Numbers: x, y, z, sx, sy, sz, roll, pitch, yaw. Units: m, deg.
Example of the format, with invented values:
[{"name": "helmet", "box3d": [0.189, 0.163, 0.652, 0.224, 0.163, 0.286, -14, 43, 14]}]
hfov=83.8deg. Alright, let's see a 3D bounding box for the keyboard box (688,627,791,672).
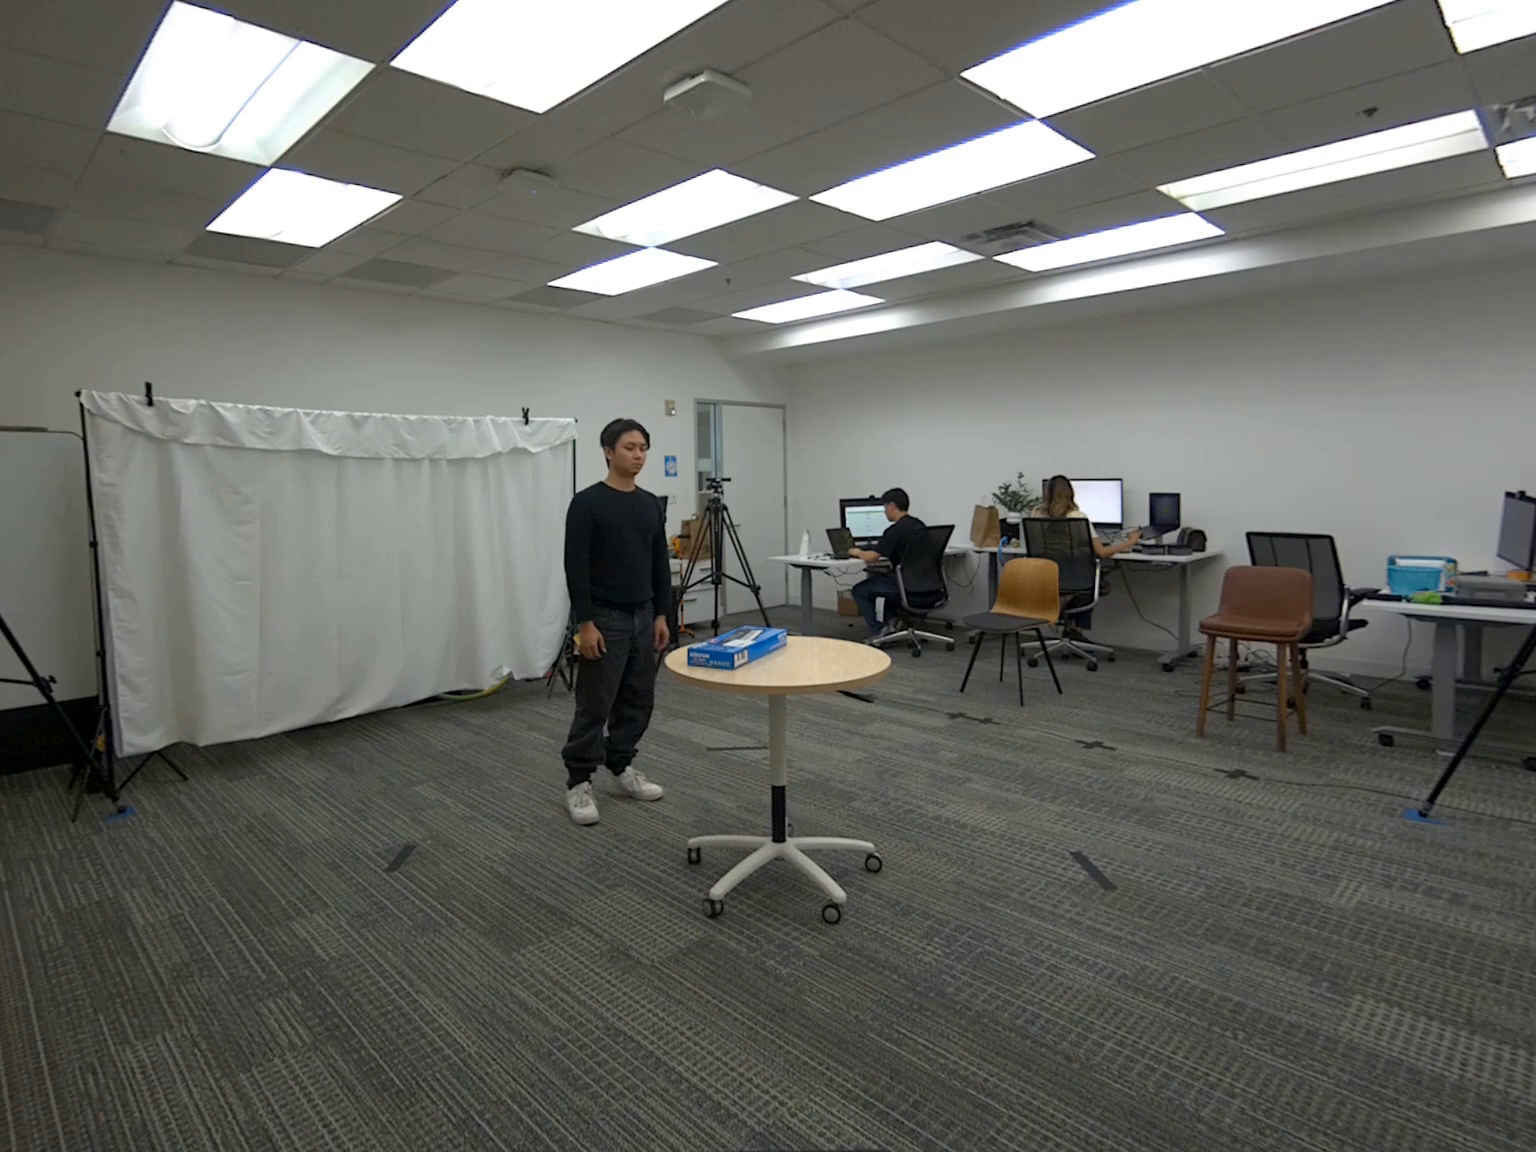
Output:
[{"name": "keyboard box", "box3d": [-0.090, 0.245, 2.962, 0.180, 0.059, 0.429, 2, 7, 25]}]
